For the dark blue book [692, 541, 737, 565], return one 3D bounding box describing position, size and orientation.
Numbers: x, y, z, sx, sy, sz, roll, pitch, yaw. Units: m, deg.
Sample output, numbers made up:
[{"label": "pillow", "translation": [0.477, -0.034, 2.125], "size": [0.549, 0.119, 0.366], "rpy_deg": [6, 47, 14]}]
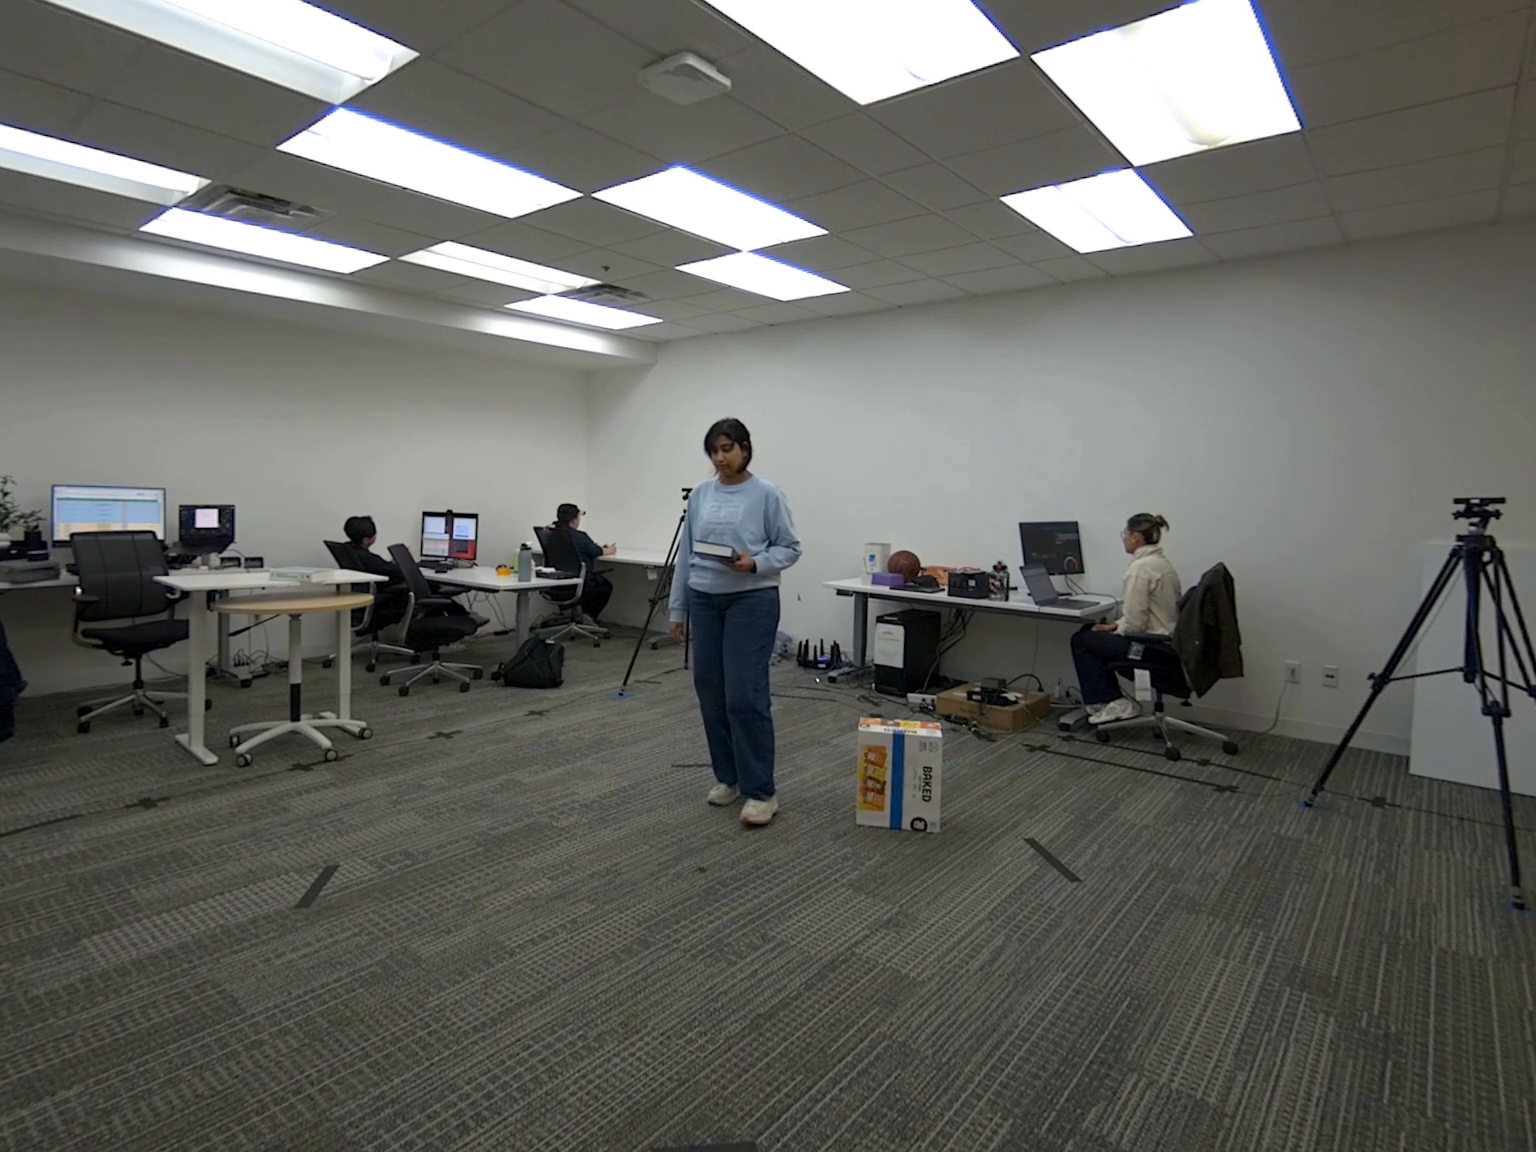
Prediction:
[{"label": "dark blue book", "translation": [-0.231, -0.100, 3.495], "size": [0.166, 0.045, 0.240], "rpy_deg": [10, -4, 12]}]
